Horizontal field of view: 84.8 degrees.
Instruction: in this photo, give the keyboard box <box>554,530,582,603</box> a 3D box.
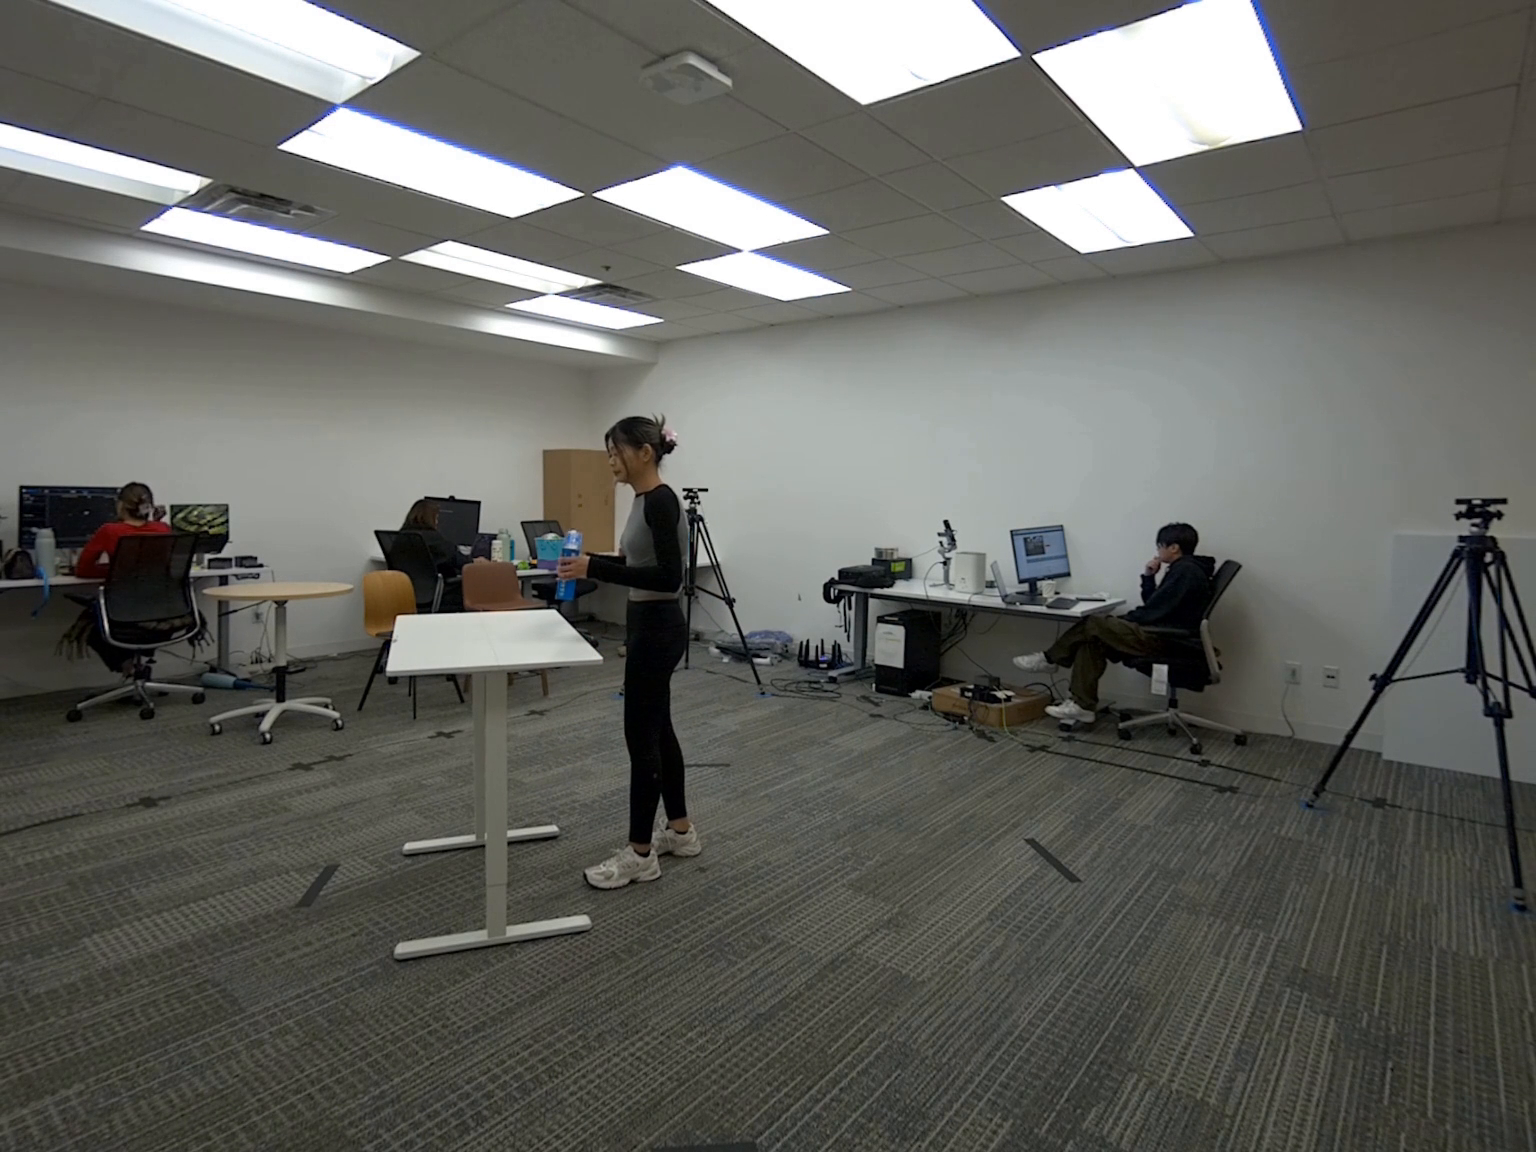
[{"bbox_3d":[-0.719,-0.045,3.022,0.058,0.175,0.445,7,9,-12],"label":"keyboard box"}]
